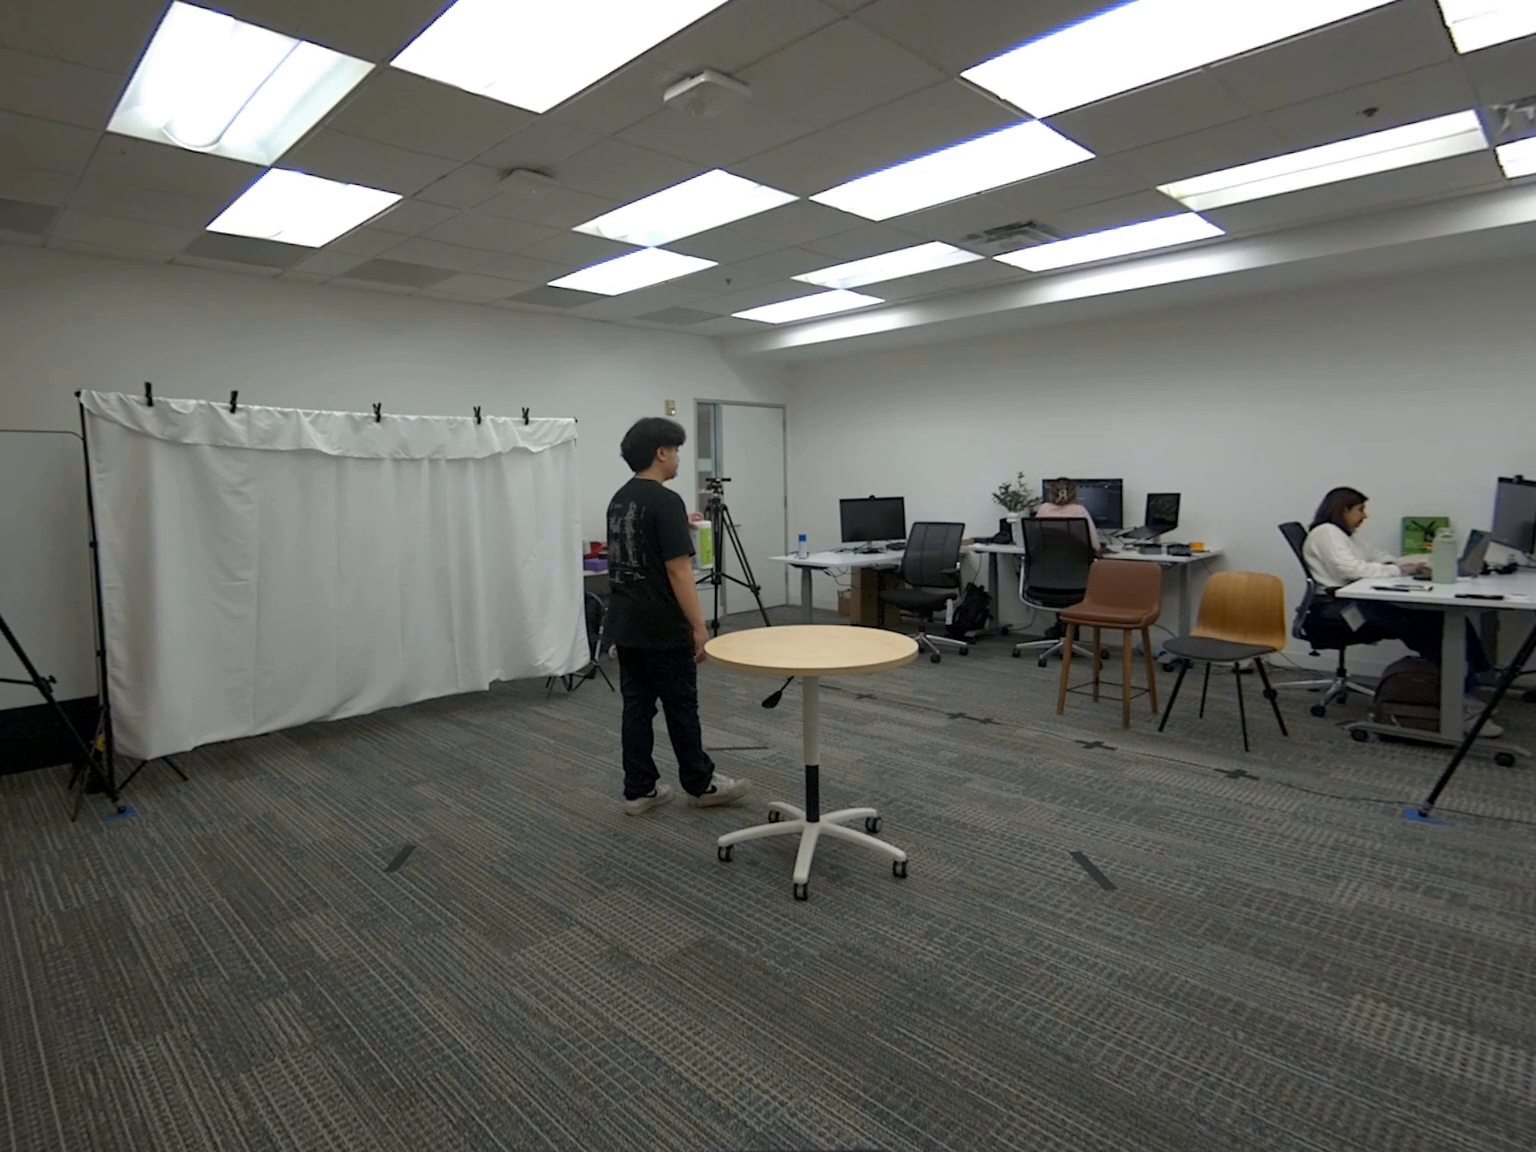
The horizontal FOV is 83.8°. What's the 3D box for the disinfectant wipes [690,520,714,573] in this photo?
[{"bbox_3d":[-0.312,-0.137,3.888,0.118,0.216,0.119,-1,7,-1],"label":"disinfectant wipes"}]
